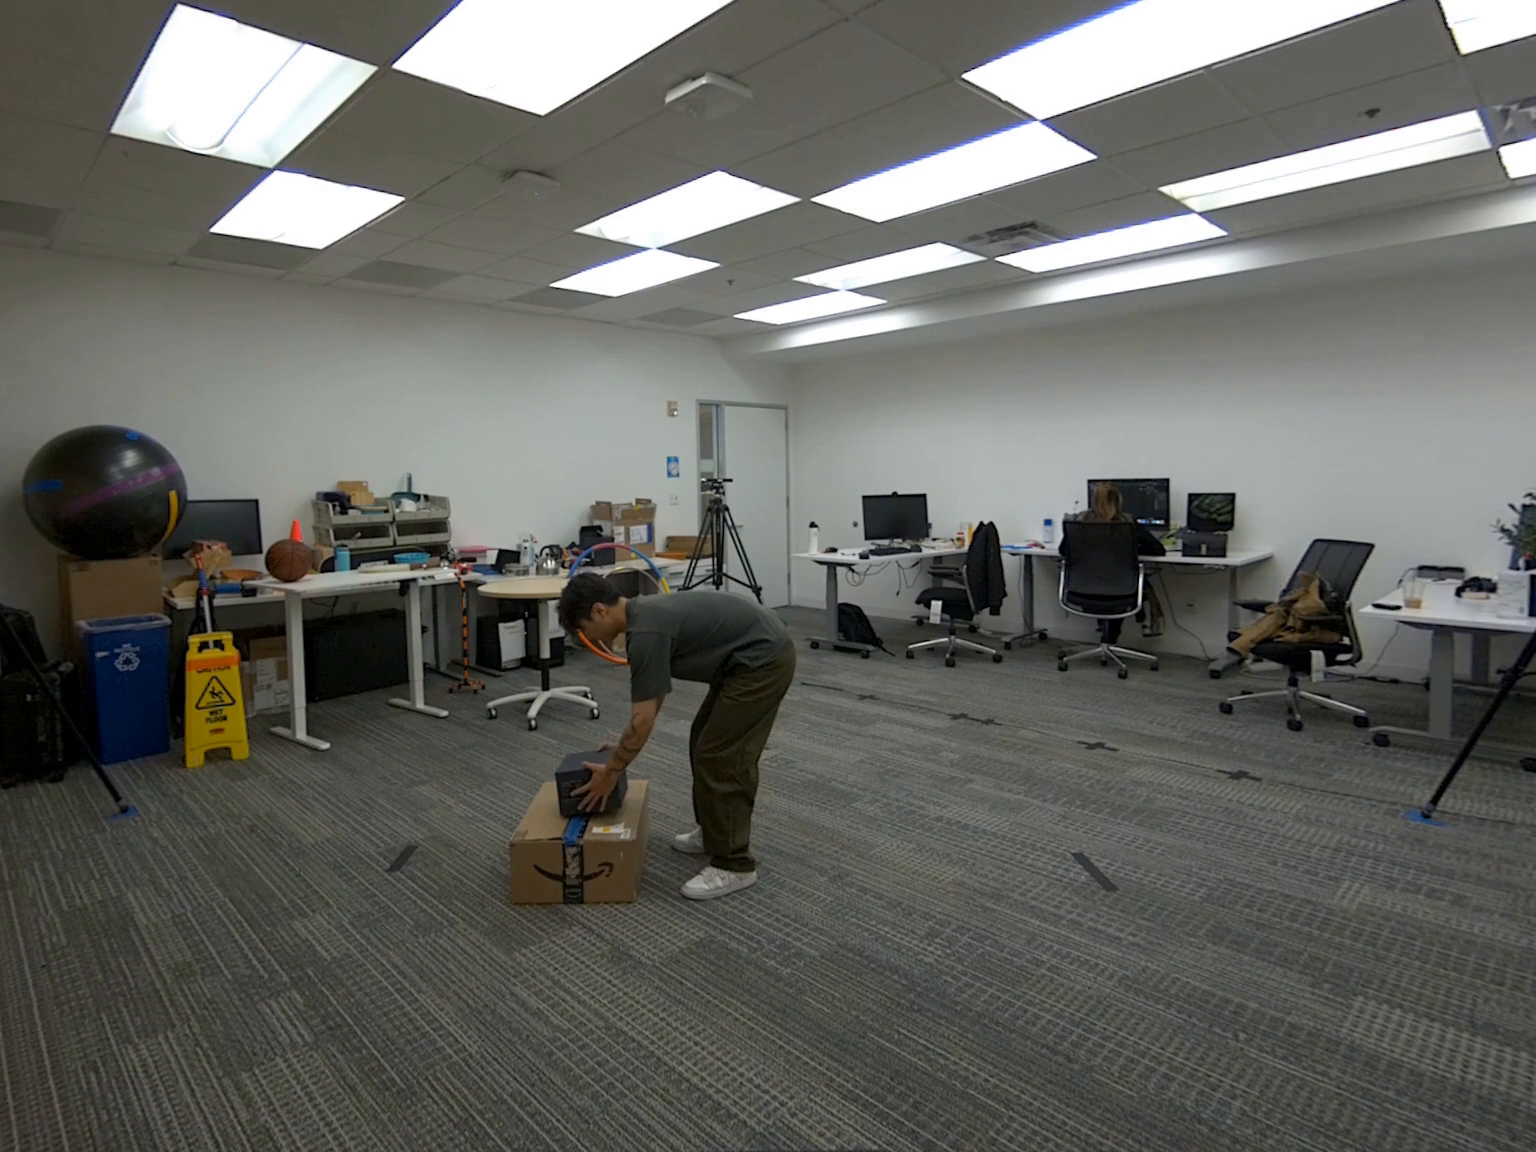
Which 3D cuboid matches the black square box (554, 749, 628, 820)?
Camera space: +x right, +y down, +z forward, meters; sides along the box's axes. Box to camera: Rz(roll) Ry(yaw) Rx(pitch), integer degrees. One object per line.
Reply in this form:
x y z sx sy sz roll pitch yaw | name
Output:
-0.636 0.740 3.093 0.217 0.155 0.229 -7 6 -1 | black square box
